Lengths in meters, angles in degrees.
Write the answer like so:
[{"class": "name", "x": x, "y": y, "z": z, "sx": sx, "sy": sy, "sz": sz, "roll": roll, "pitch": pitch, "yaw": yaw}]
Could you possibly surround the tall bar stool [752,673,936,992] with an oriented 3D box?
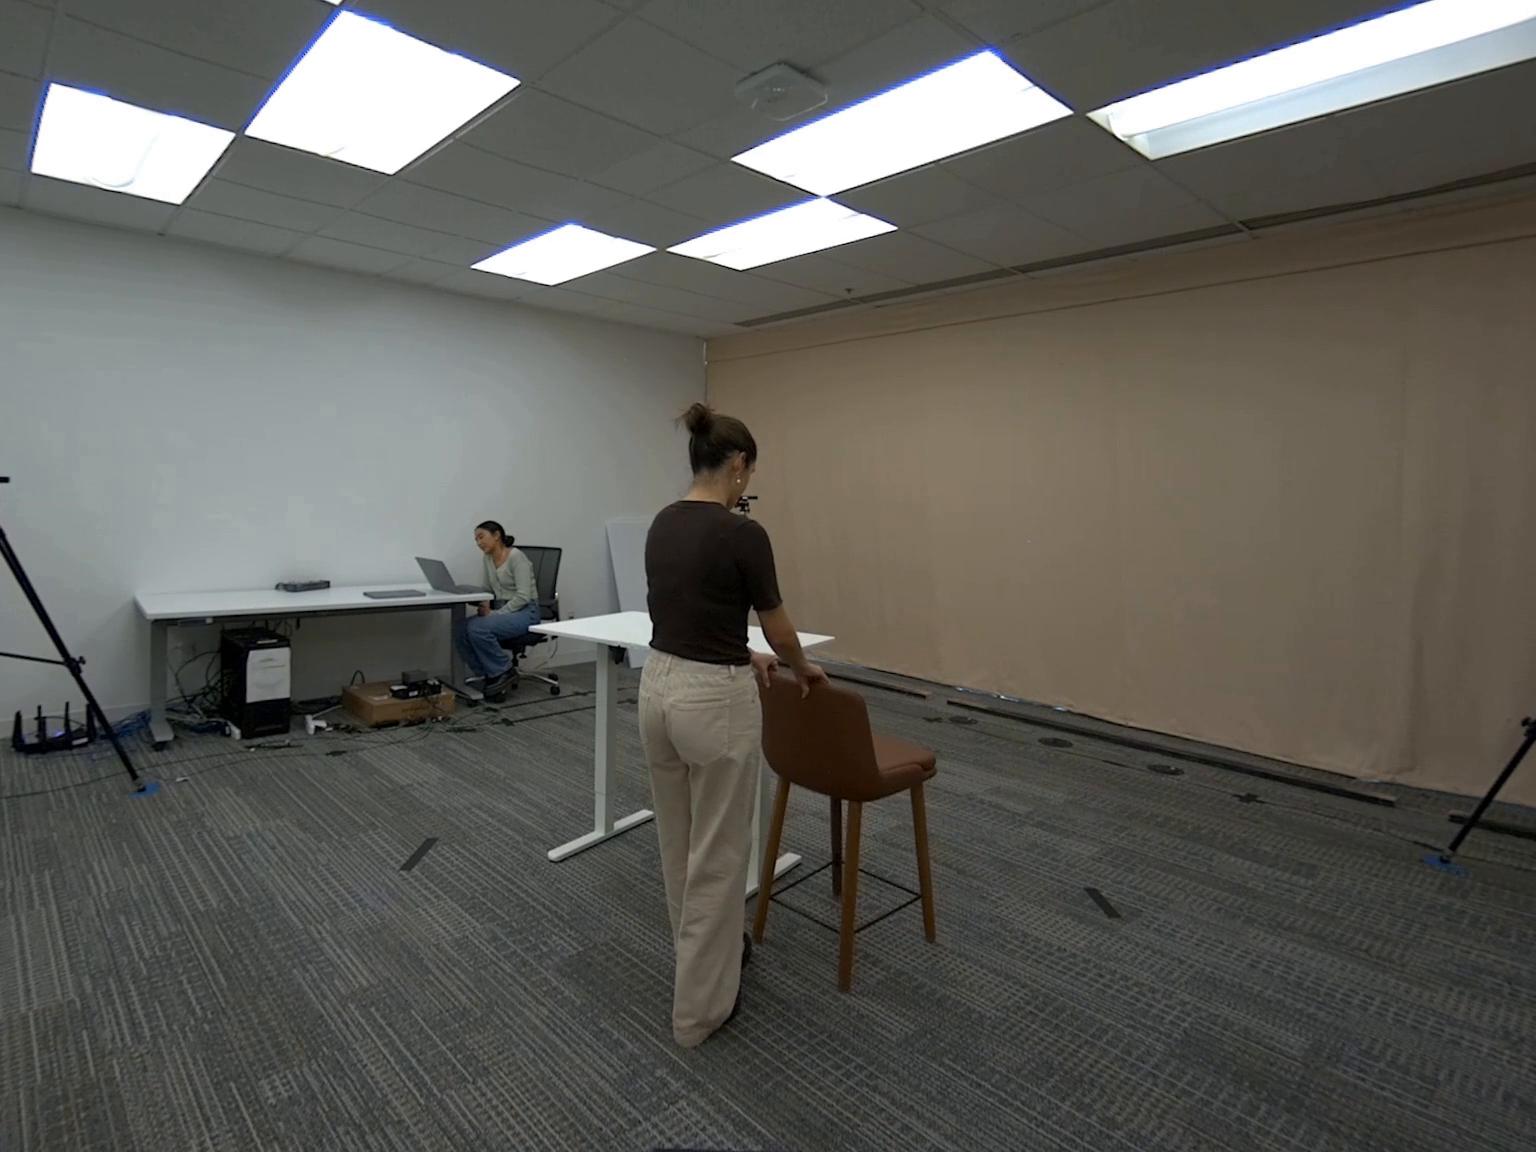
[{"class": "tall bar stool", "x": 0.232, "y": 0.716, "z": 2.624, "sx": 0.457, "sy": 0.886, "sz": 0.468, "roll": -6, "pitch": 8, "yaw": -45}]
